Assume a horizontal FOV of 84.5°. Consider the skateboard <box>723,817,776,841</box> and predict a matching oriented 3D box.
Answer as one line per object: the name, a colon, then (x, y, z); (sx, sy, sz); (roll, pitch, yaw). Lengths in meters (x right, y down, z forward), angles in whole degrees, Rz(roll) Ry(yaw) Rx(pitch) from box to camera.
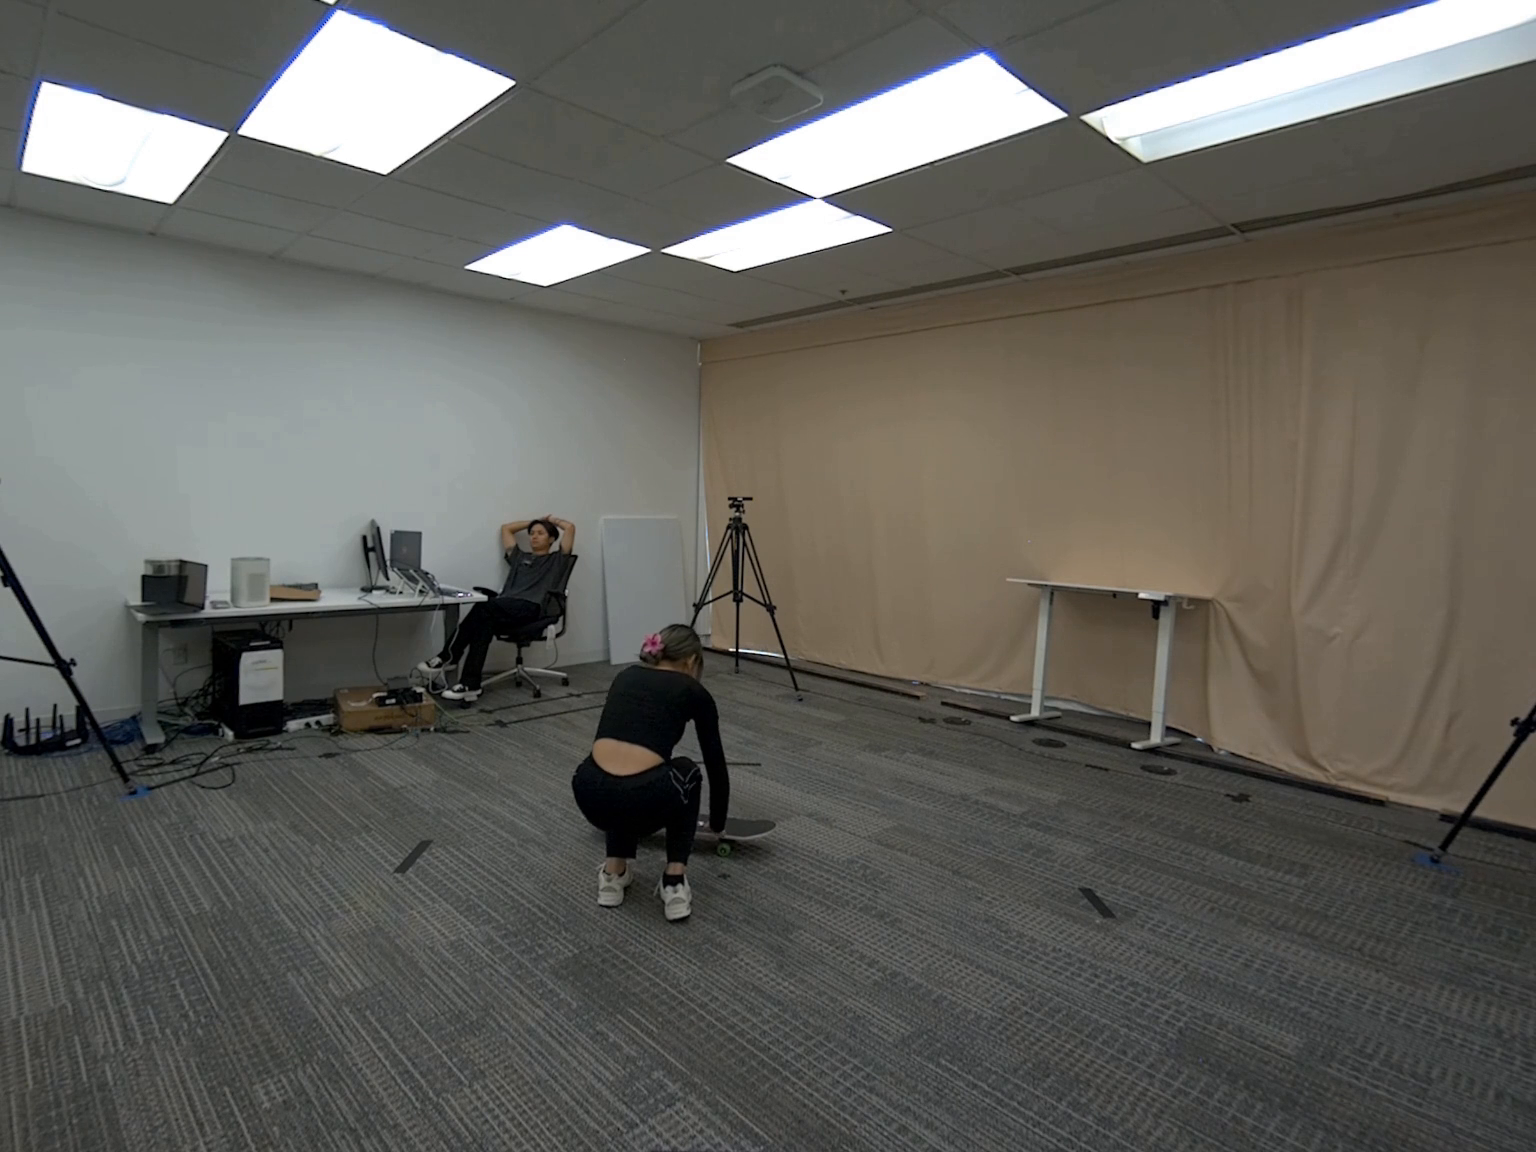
skateboard: (-0.356, 1.015, 3.386); (0.793, 0.110, 0.192); (2, 4, 11)
